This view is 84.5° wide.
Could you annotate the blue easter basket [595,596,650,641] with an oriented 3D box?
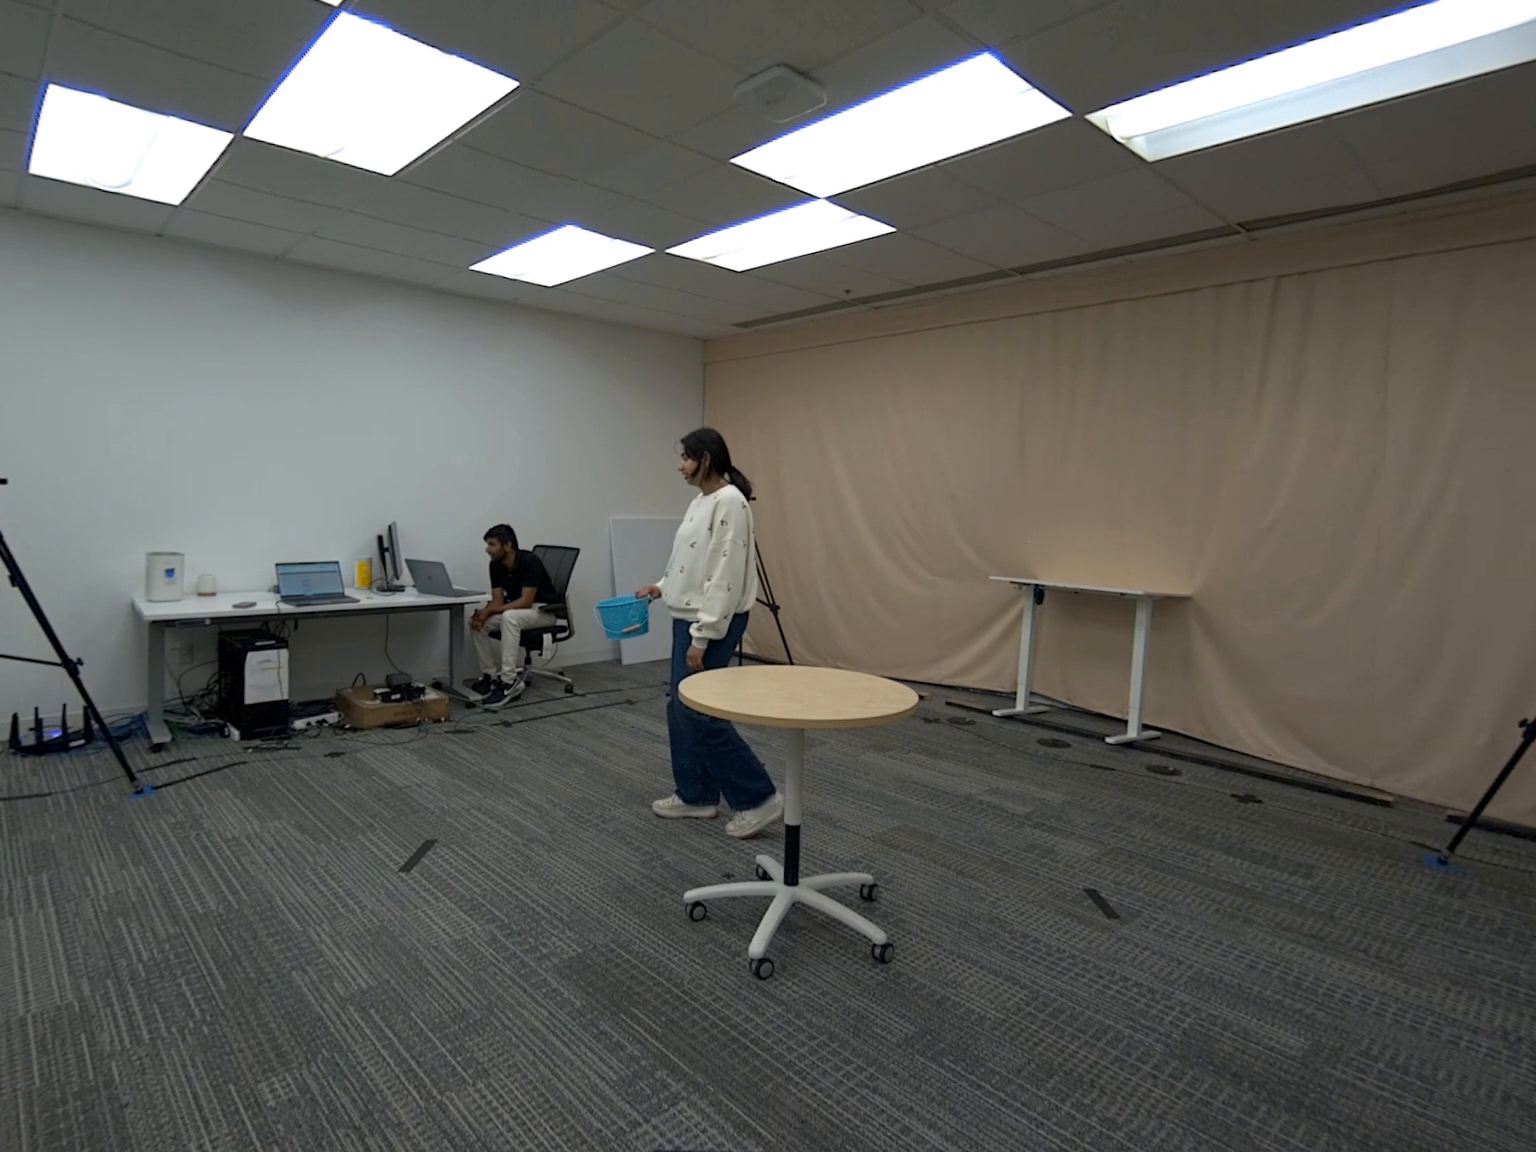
[{"bbox_3d":[-0.616,0.178,3.605,0.243,0.155,0.244,-9,5,-1],"label":"blue easter basket"}]
